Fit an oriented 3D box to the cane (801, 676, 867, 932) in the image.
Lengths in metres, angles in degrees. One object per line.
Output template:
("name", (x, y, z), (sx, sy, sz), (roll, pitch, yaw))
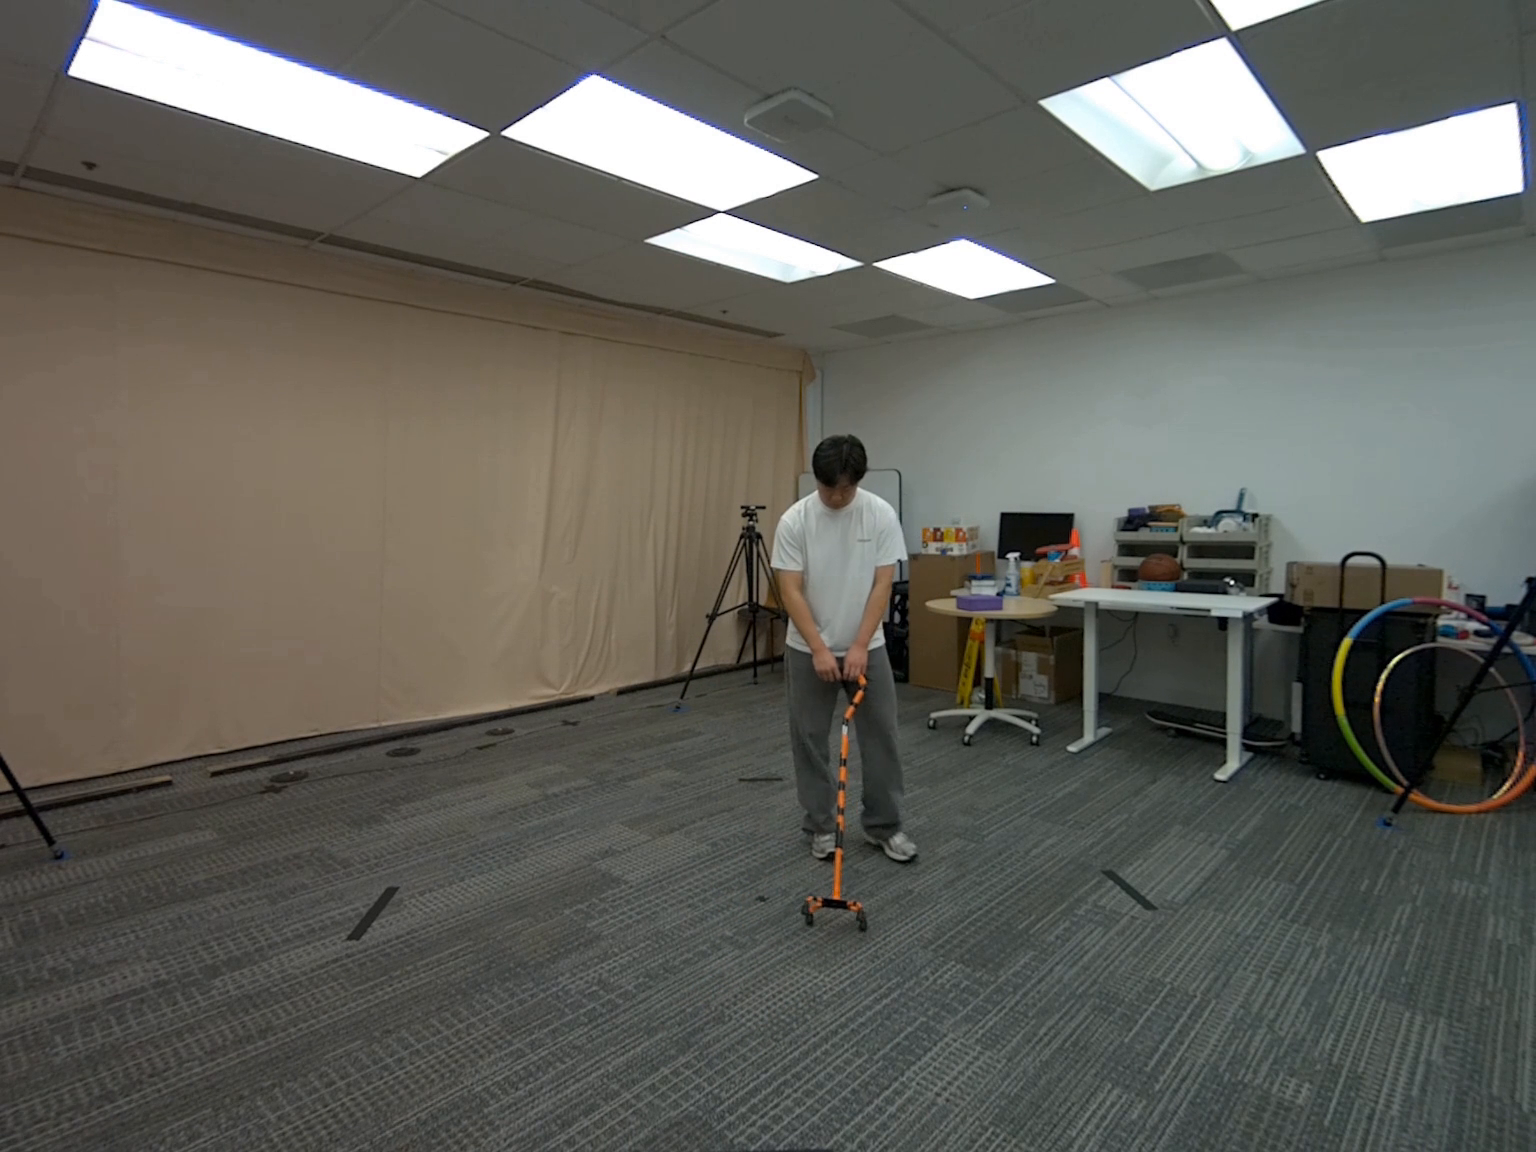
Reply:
("cane", (0.269, 0.738, 2.976), (0.209, 0.919, 0.148), (0, -33, 10))
